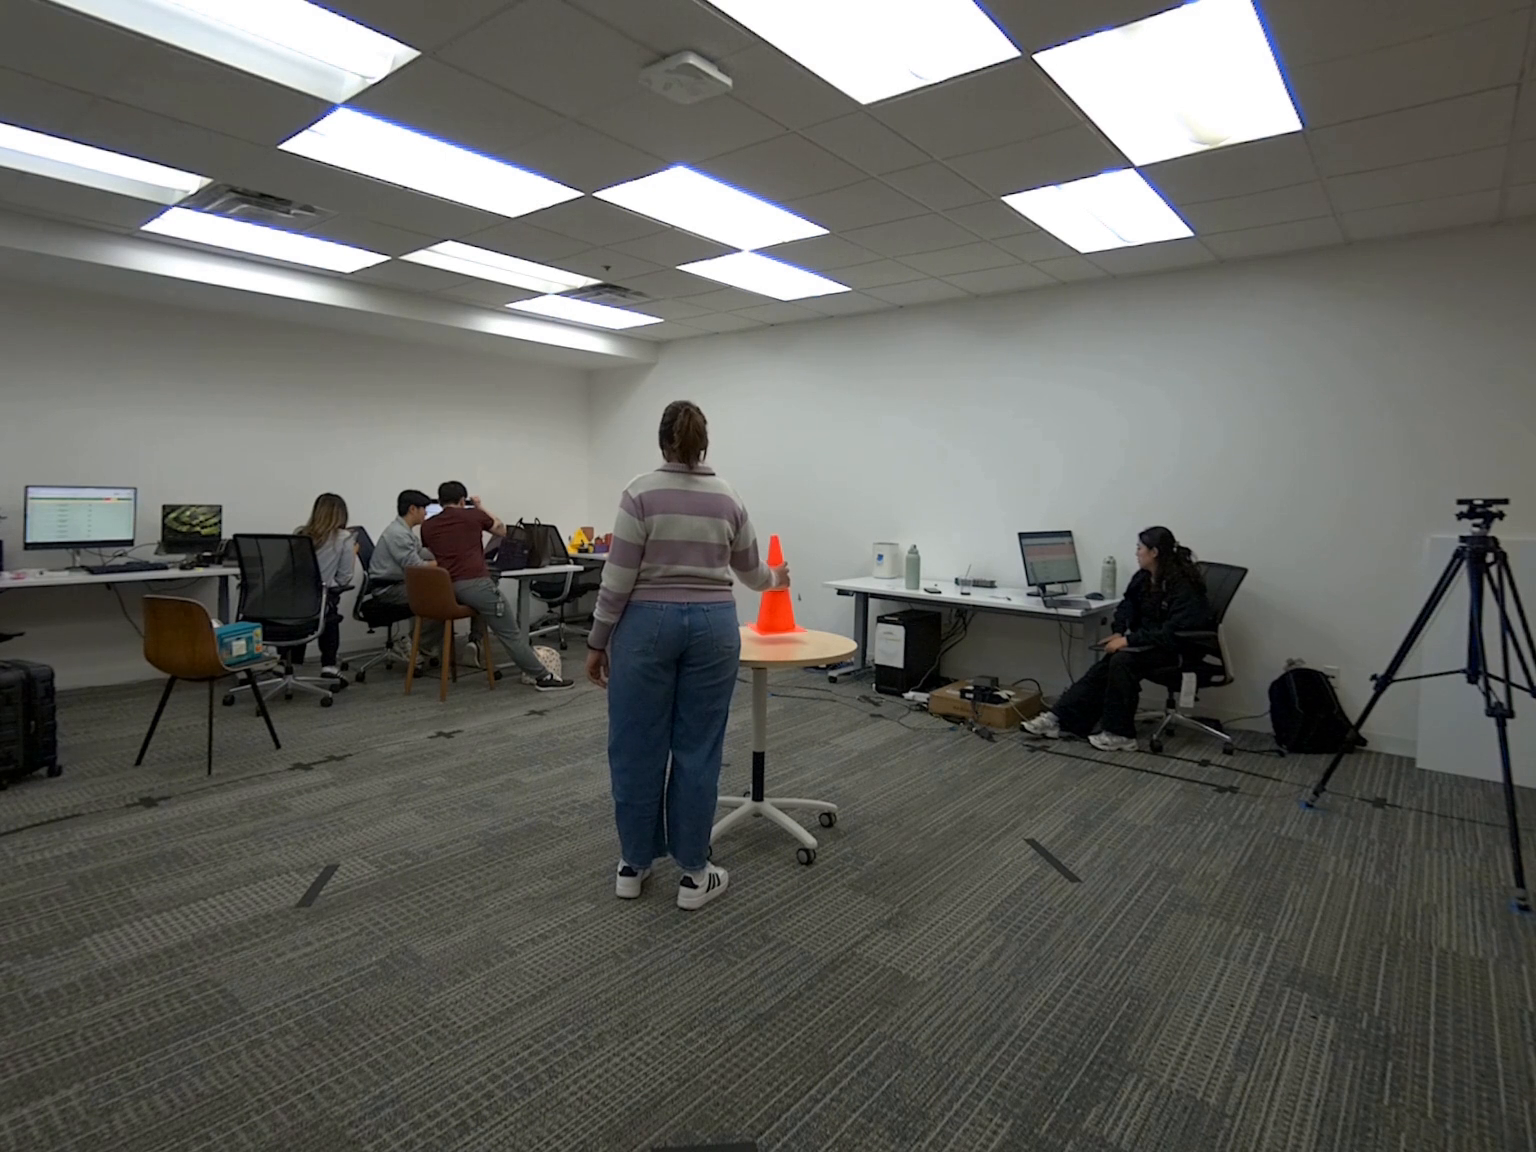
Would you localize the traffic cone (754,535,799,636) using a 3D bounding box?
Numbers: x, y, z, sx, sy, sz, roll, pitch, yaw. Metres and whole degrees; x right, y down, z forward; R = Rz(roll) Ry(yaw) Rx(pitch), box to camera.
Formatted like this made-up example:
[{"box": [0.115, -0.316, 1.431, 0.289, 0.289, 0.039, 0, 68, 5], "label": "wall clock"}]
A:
[{"box": [0.014, 0.025, 3.417, 0.199, 0.381, 0.211, -5, 9, -27], "label": "traffic cone"}]
